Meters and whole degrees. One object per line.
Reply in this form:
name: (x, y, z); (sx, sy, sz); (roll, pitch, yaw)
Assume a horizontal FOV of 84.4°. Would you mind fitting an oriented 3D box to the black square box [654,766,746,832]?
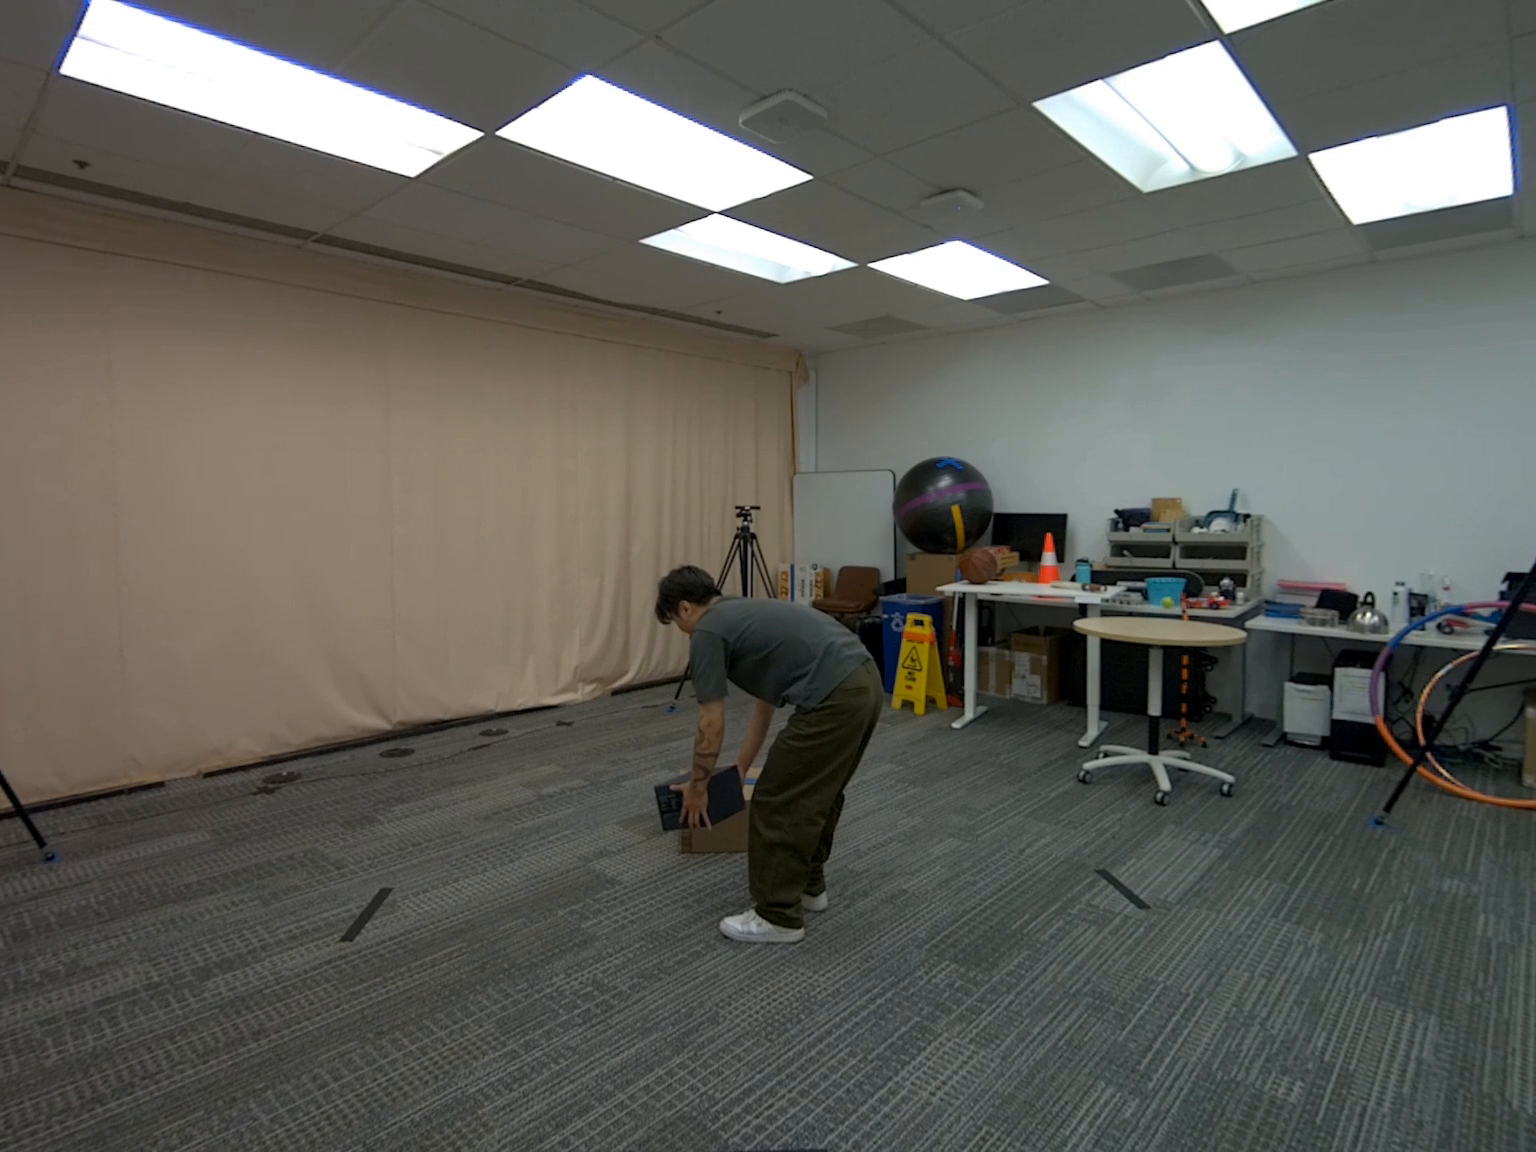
black square box: (-0.239, 0.786, 2.982); (0.222, 0.156, 0.222); (-15, -4, 31)
